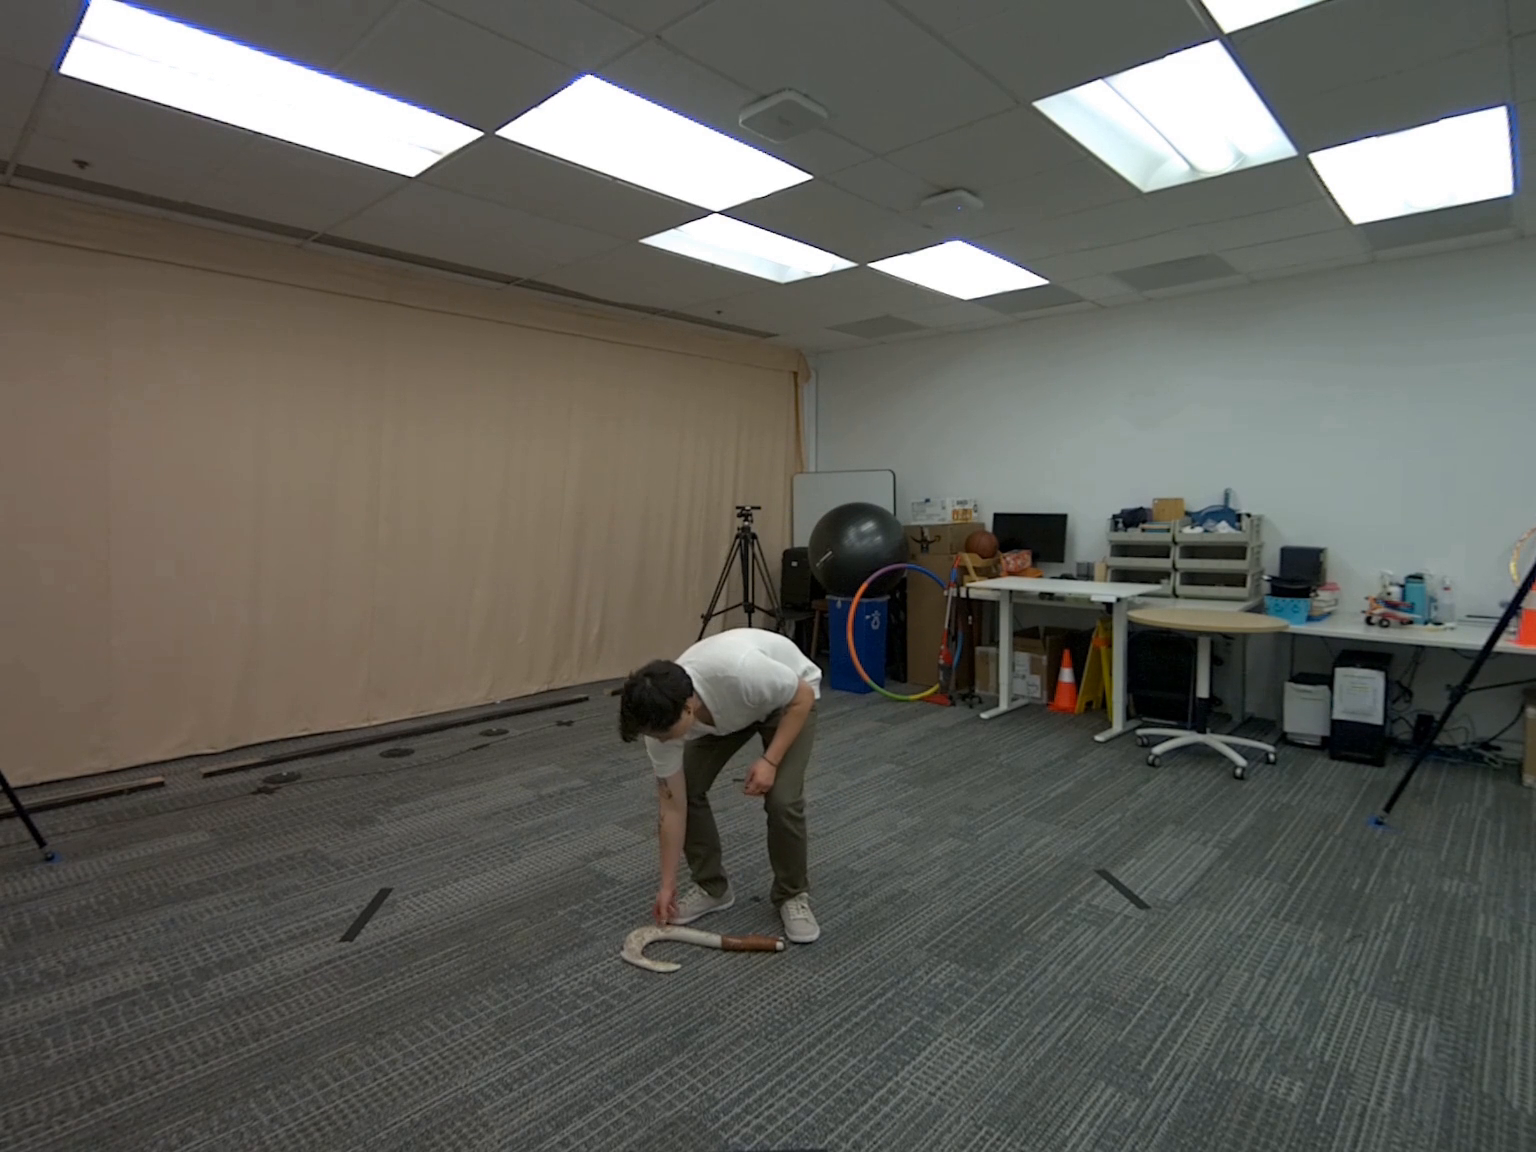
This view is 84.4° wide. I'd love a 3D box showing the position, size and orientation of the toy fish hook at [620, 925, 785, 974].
[{"bbox_3d":[-0.191,1.156,2.609,0.510,0.048,0.225,-1,11,6],"label":"toy fish hook"}]
